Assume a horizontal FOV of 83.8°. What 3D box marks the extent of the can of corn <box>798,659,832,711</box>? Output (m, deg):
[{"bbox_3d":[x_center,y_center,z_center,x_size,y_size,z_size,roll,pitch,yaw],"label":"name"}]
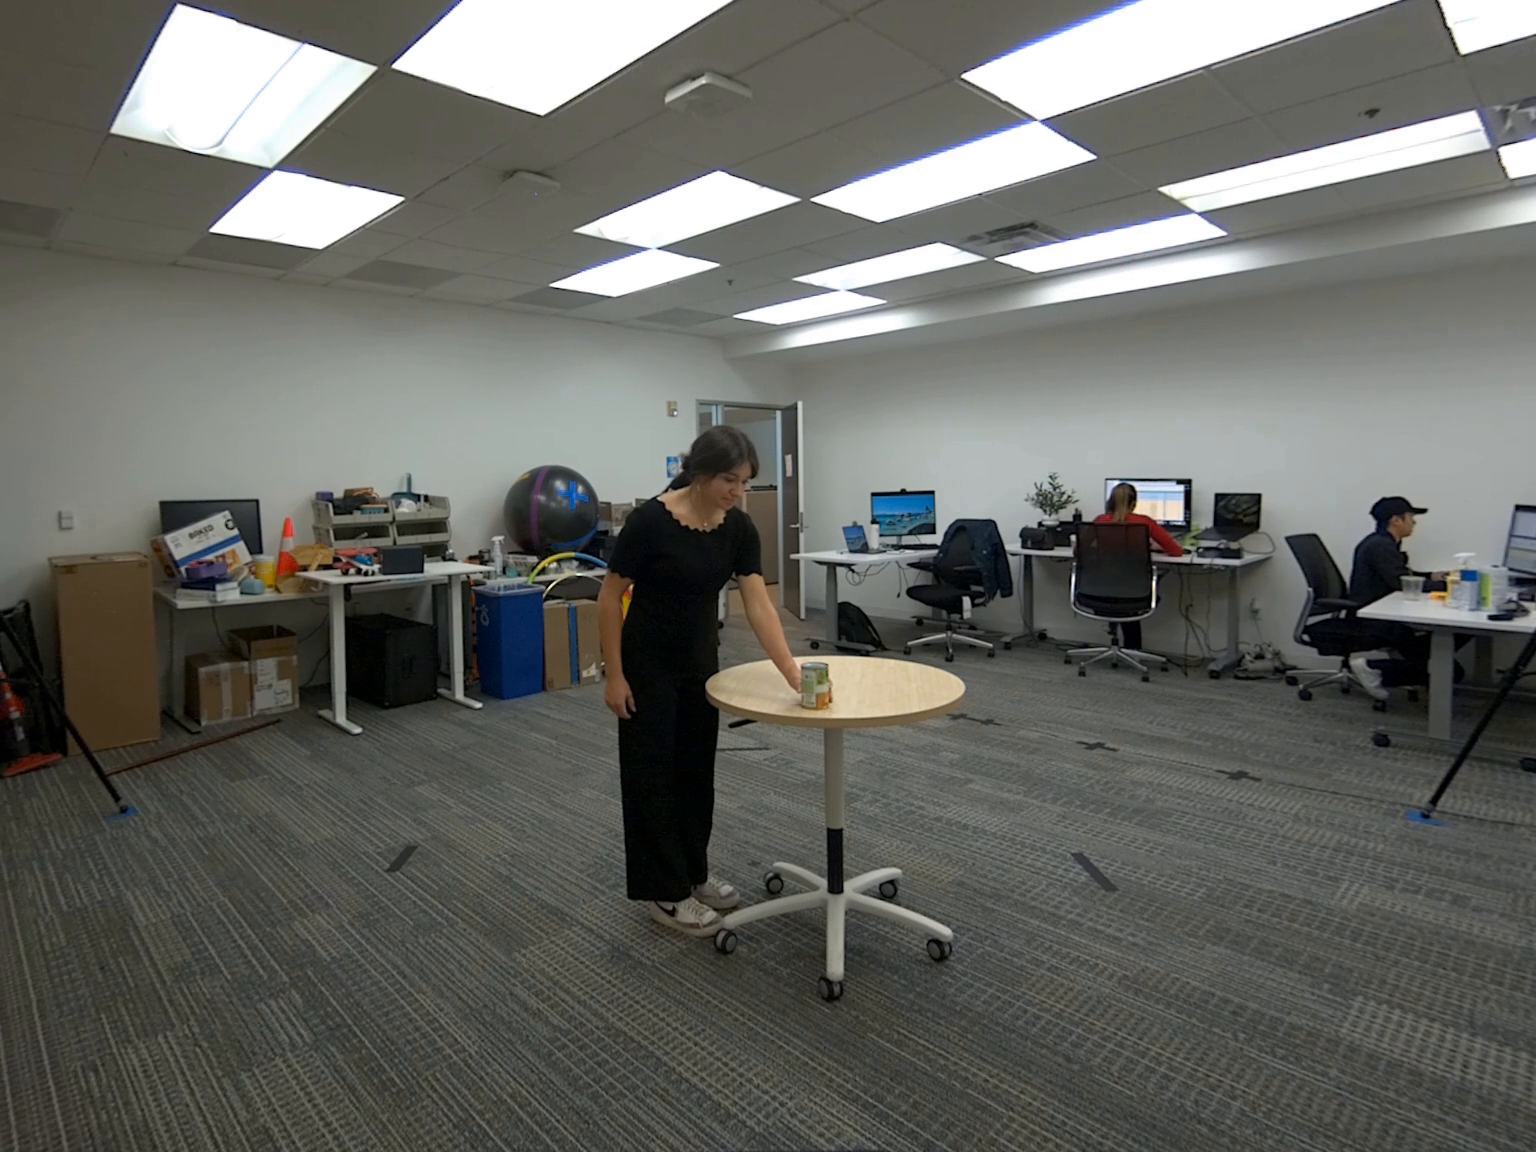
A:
[{"bbox_3d":[0.121,0.288,2.297,0.074,0.110,0.074,-2,5,-2],"label":"can of corn"}]
